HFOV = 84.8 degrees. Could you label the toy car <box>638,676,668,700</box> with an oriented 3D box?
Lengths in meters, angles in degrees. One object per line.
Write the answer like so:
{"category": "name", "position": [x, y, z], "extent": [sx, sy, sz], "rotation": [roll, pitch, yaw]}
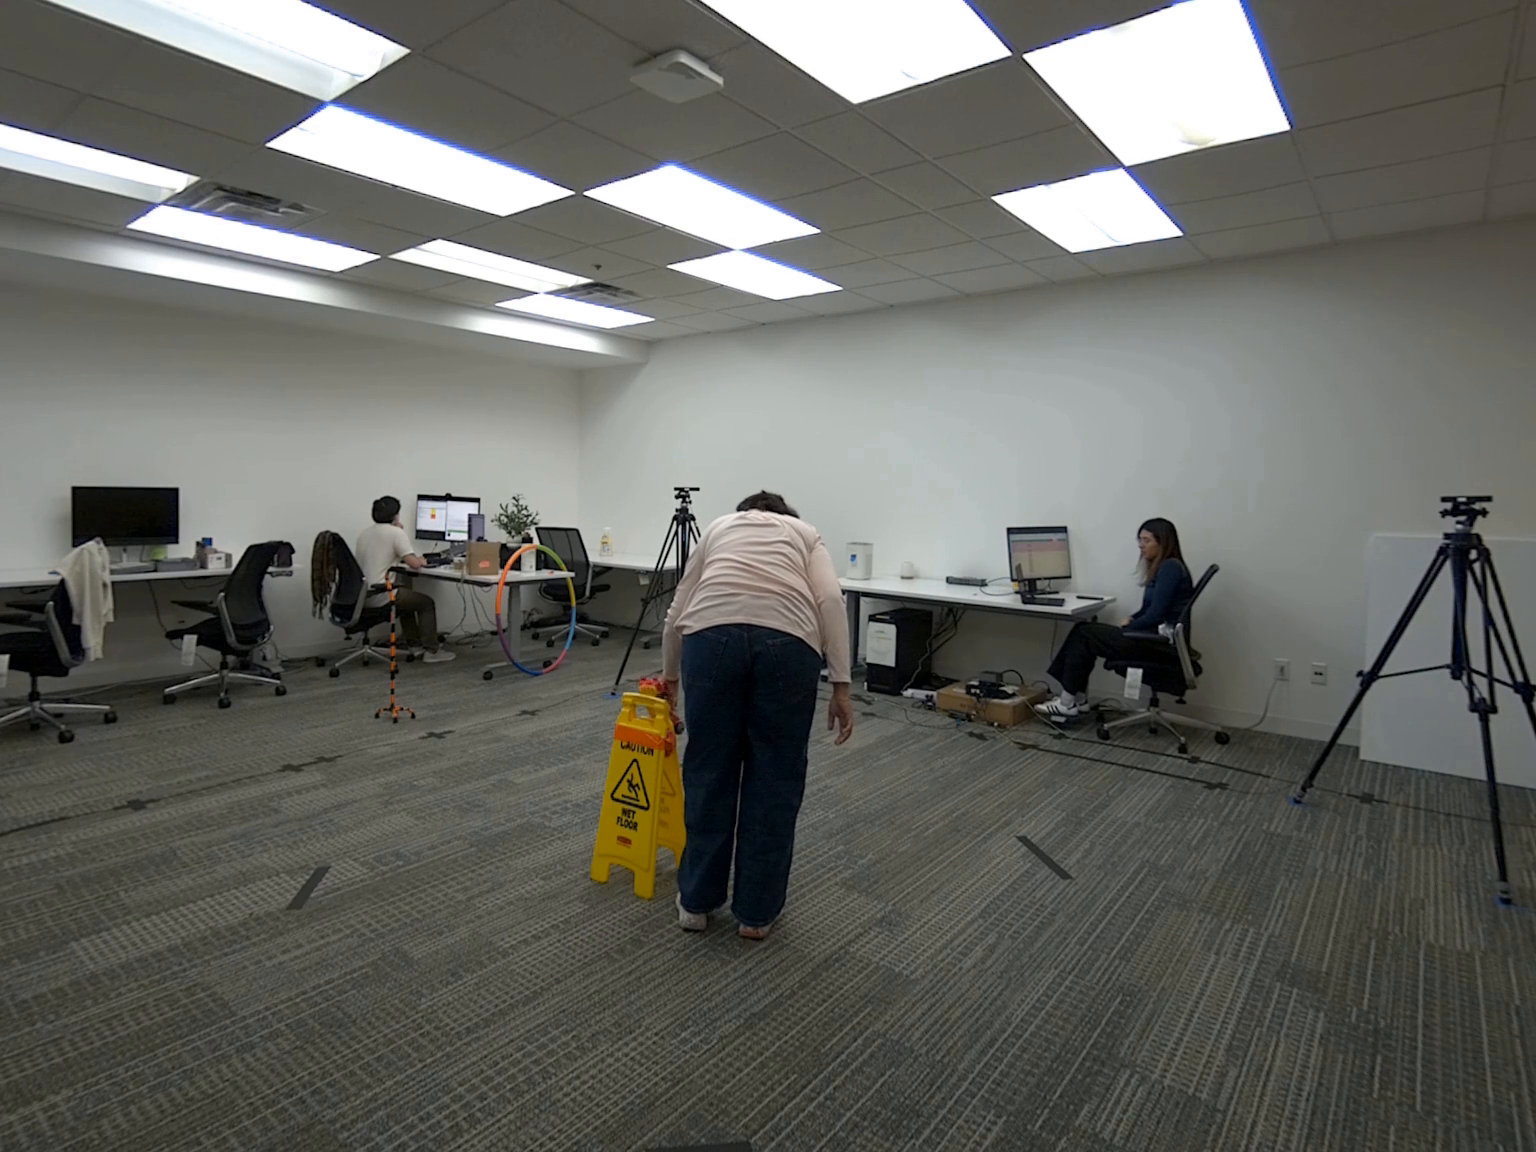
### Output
{"category": "toy car", "position": [-0.401, 0.470, 3.066], "extent": [0.134, 0.250, 0.082], "rotation": [-3, 18, 34]}
